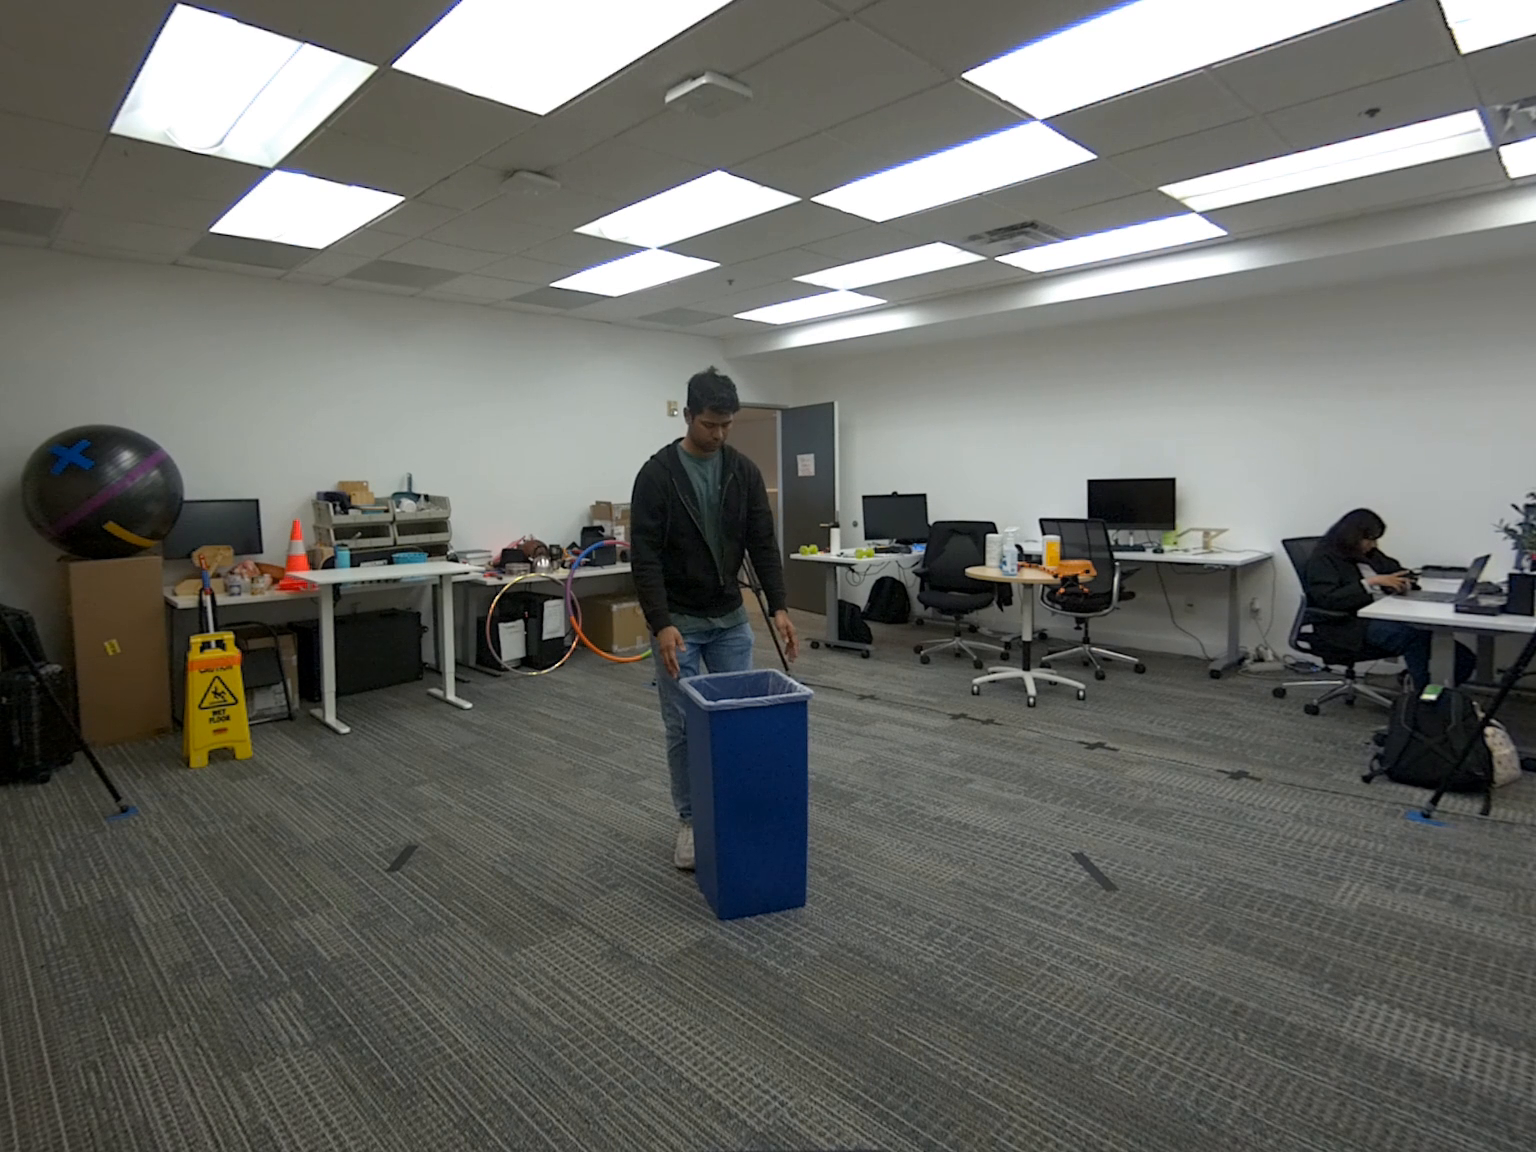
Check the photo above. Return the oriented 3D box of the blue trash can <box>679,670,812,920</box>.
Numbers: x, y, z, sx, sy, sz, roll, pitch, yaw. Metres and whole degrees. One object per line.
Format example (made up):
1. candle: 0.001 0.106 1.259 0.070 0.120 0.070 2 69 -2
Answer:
1. blue trash can: -0.073 0.713 2.858 0.368 0.711 0.386 -2 4 -19
